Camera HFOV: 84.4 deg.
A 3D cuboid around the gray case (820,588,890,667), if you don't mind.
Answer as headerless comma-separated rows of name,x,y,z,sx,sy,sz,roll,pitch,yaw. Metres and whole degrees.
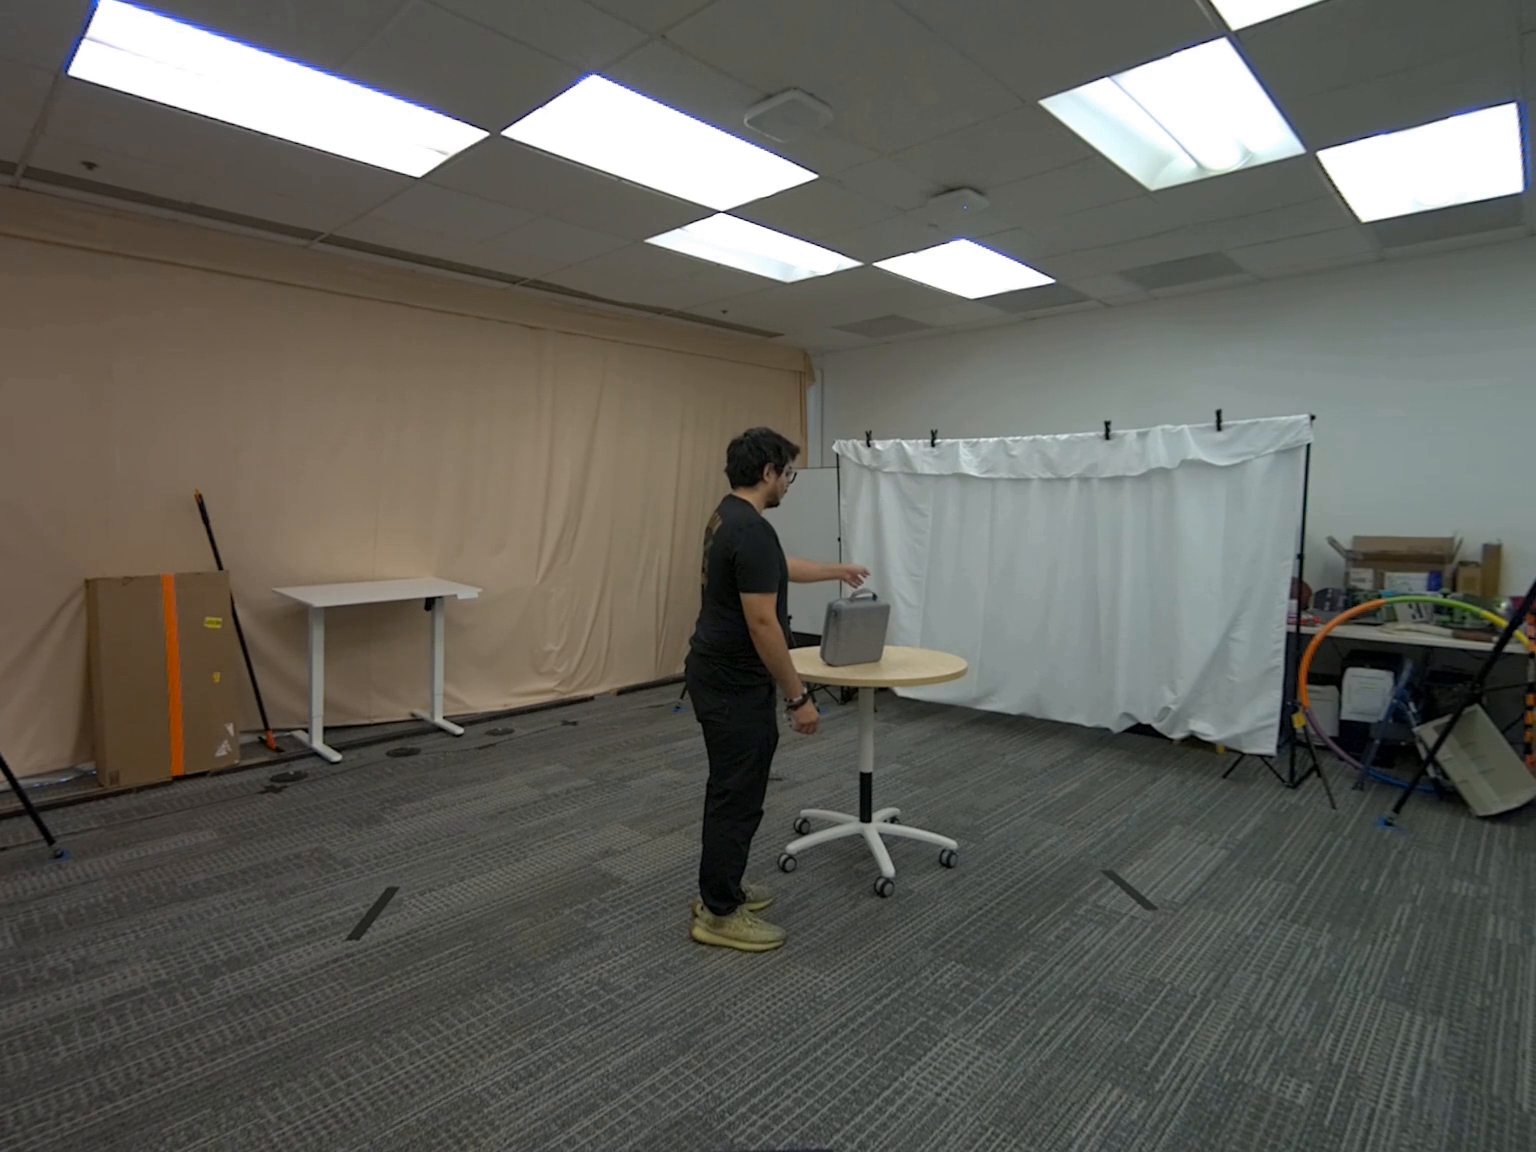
gray case,0.339,0.208,3.235,0.250,0.259,0.108,-1,14,-30
